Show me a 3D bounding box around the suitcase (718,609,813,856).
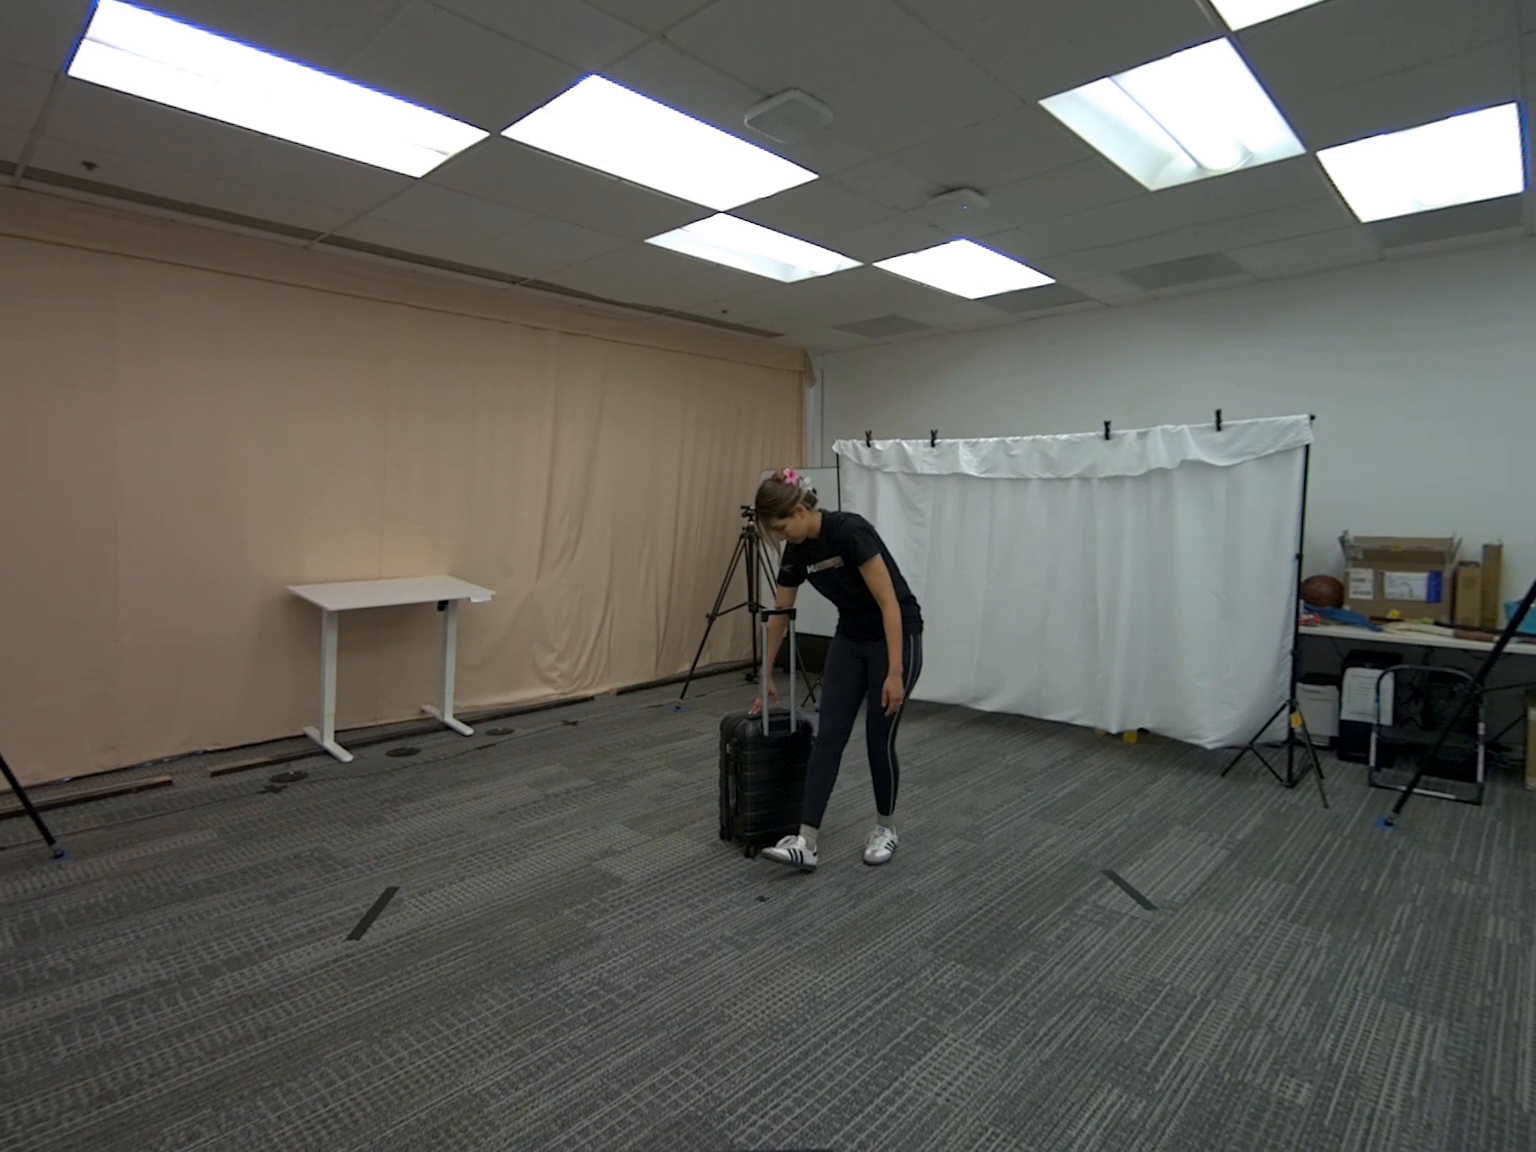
[{"bbox_3d":[-0.014,0.625,3.470,0.376,0.977,0.263,-2,2,-23],"label":"suitcase"}]
